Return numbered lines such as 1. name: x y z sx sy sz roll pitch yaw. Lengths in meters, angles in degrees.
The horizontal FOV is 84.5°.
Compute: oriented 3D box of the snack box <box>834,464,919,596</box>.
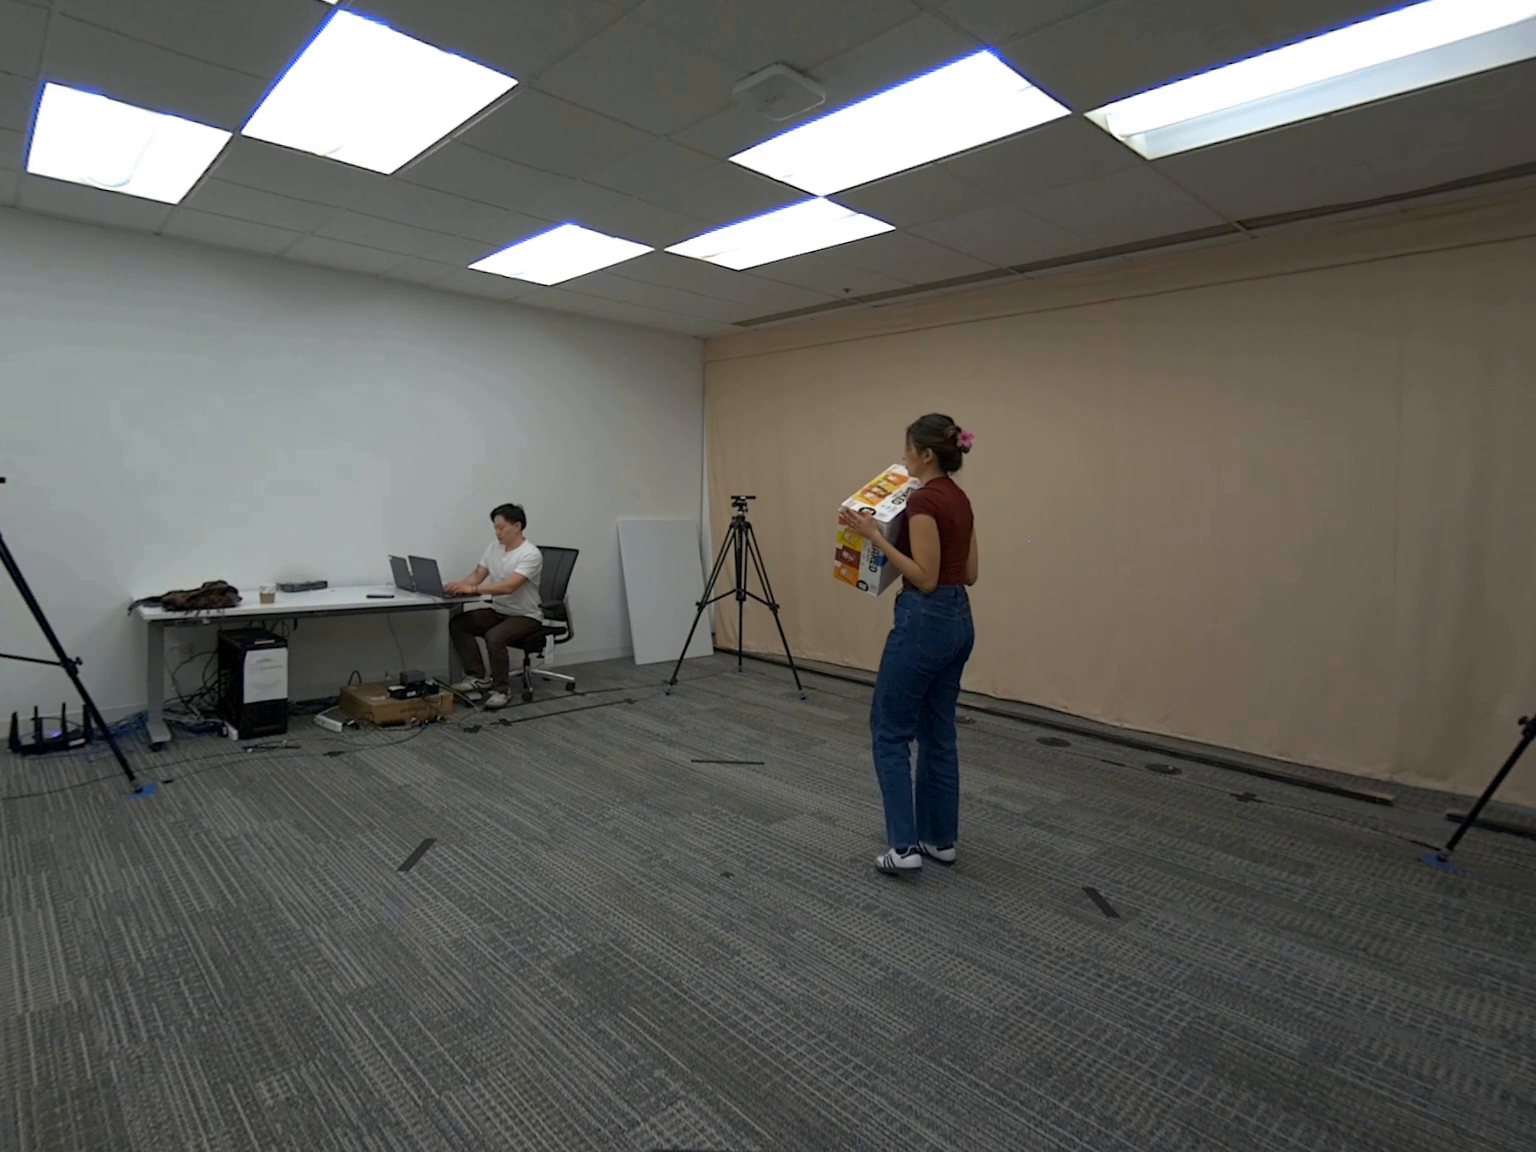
1. snack box: 0.445 -0.191 3.298 0.211 0.333 0.402 25 42 29
